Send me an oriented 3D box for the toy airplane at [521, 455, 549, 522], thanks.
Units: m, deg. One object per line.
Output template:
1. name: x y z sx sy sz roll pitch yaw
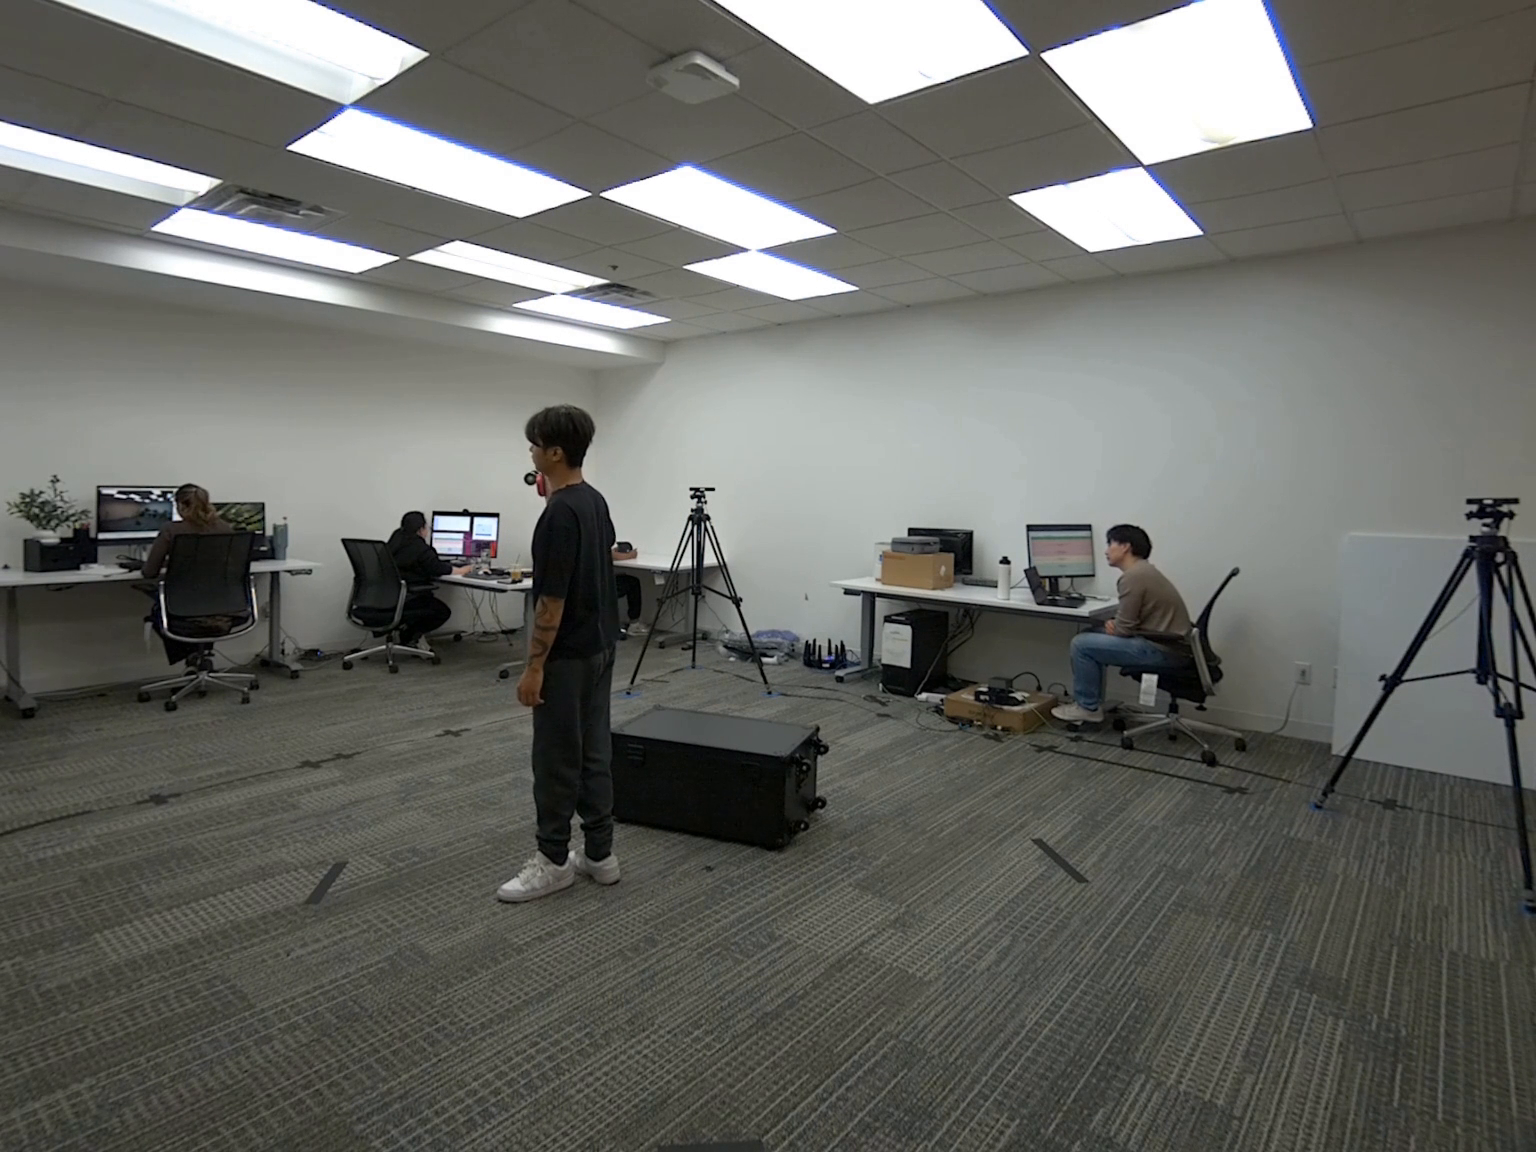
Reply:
1. toy airplane: -0.913 -0.351 3.535 0.156 0.250 0.260 -17 39 -1
